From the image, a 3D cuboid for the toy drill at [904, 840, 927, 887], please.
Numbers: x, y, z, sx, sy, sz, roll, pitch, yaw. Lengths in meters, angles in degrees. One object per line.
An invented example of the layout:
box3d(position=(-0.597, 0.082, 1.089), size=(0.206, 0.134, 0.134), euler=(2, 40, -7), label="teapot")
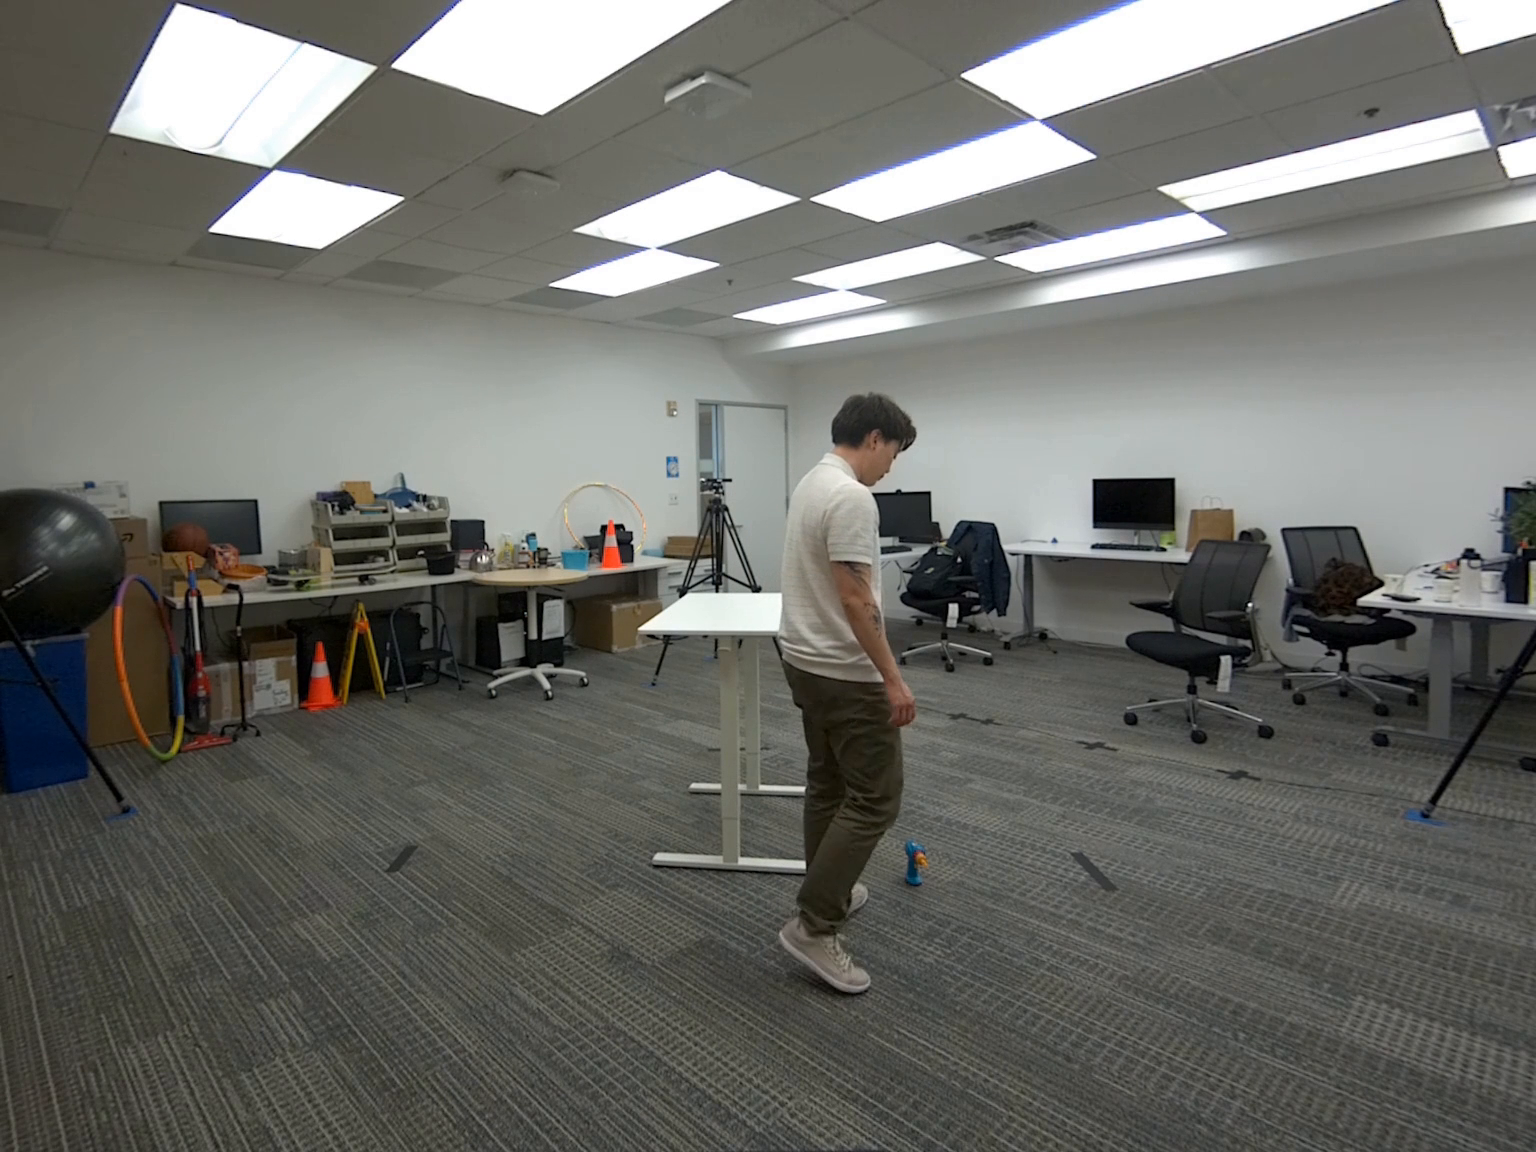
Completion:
box3d(position=(0.509, 0.986, 2.899), size=(0.061, 0.145, 0.171), euler=(-6, 5, -7), label="toy drill")
